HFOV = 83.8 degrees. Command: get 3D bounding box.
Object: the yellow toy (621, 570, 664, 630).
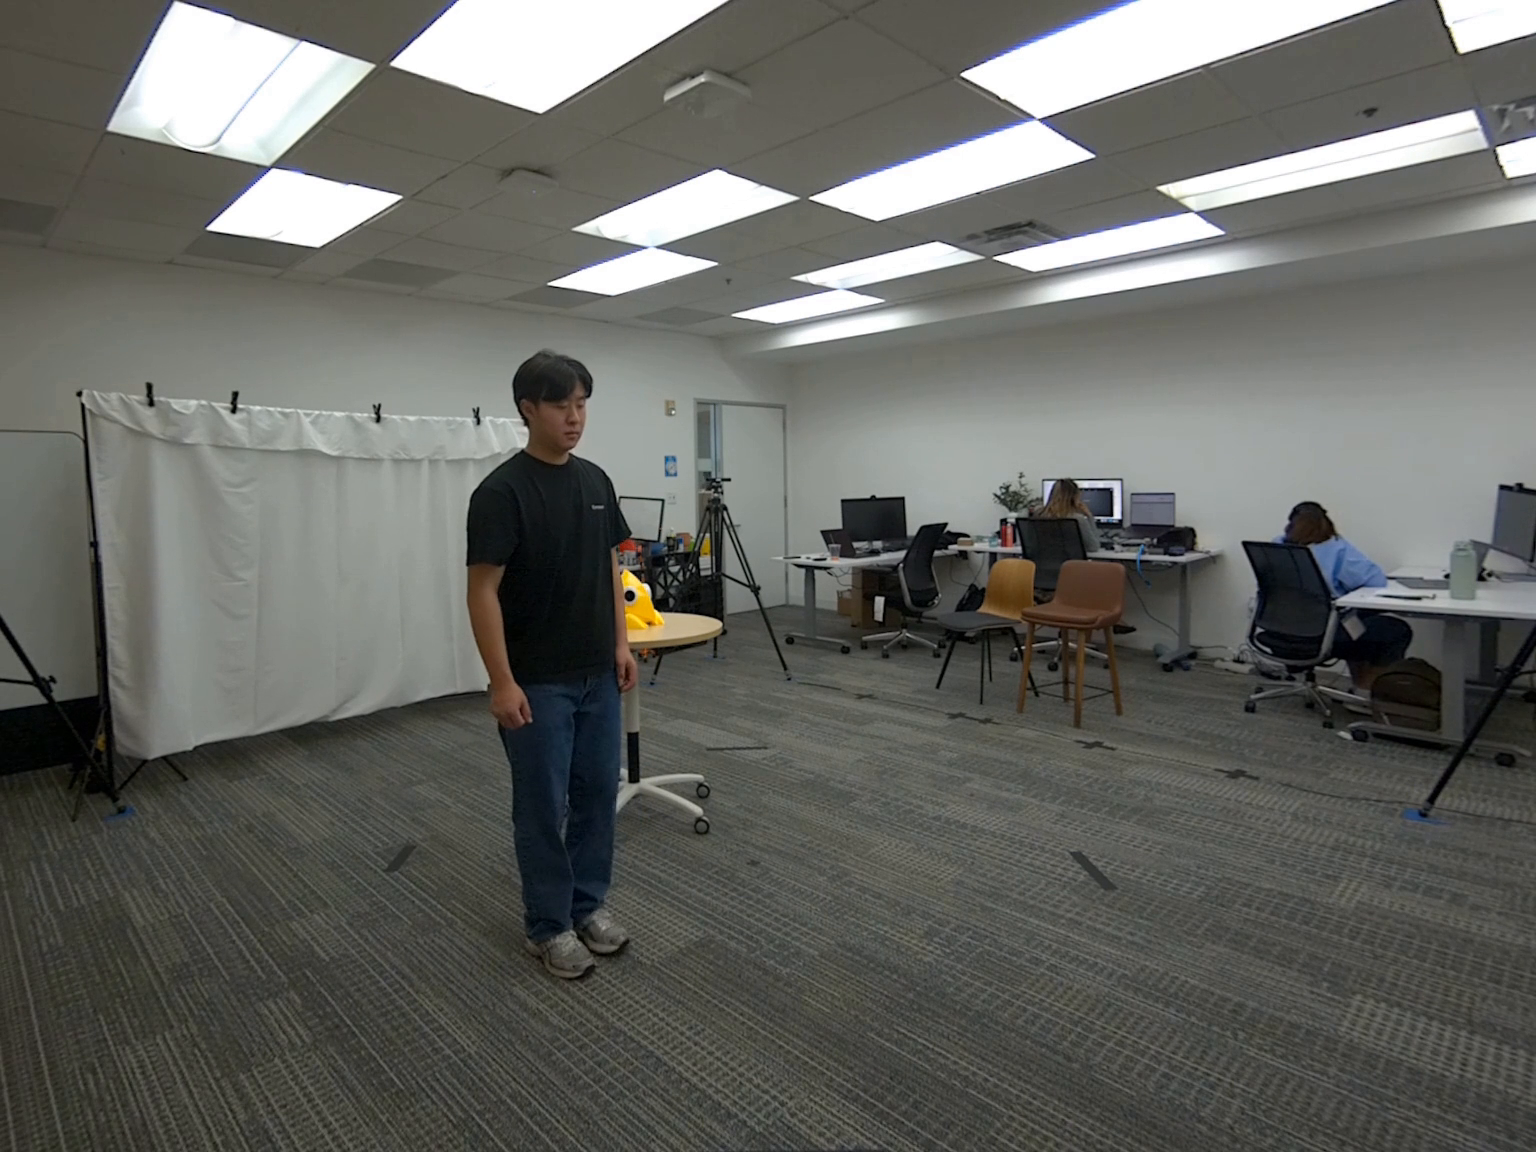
[{"bbox_3d":[-0.544,0.090,3.562,0.198,0.230,0.200,2,5,31],"label":"yellow toy"}]
